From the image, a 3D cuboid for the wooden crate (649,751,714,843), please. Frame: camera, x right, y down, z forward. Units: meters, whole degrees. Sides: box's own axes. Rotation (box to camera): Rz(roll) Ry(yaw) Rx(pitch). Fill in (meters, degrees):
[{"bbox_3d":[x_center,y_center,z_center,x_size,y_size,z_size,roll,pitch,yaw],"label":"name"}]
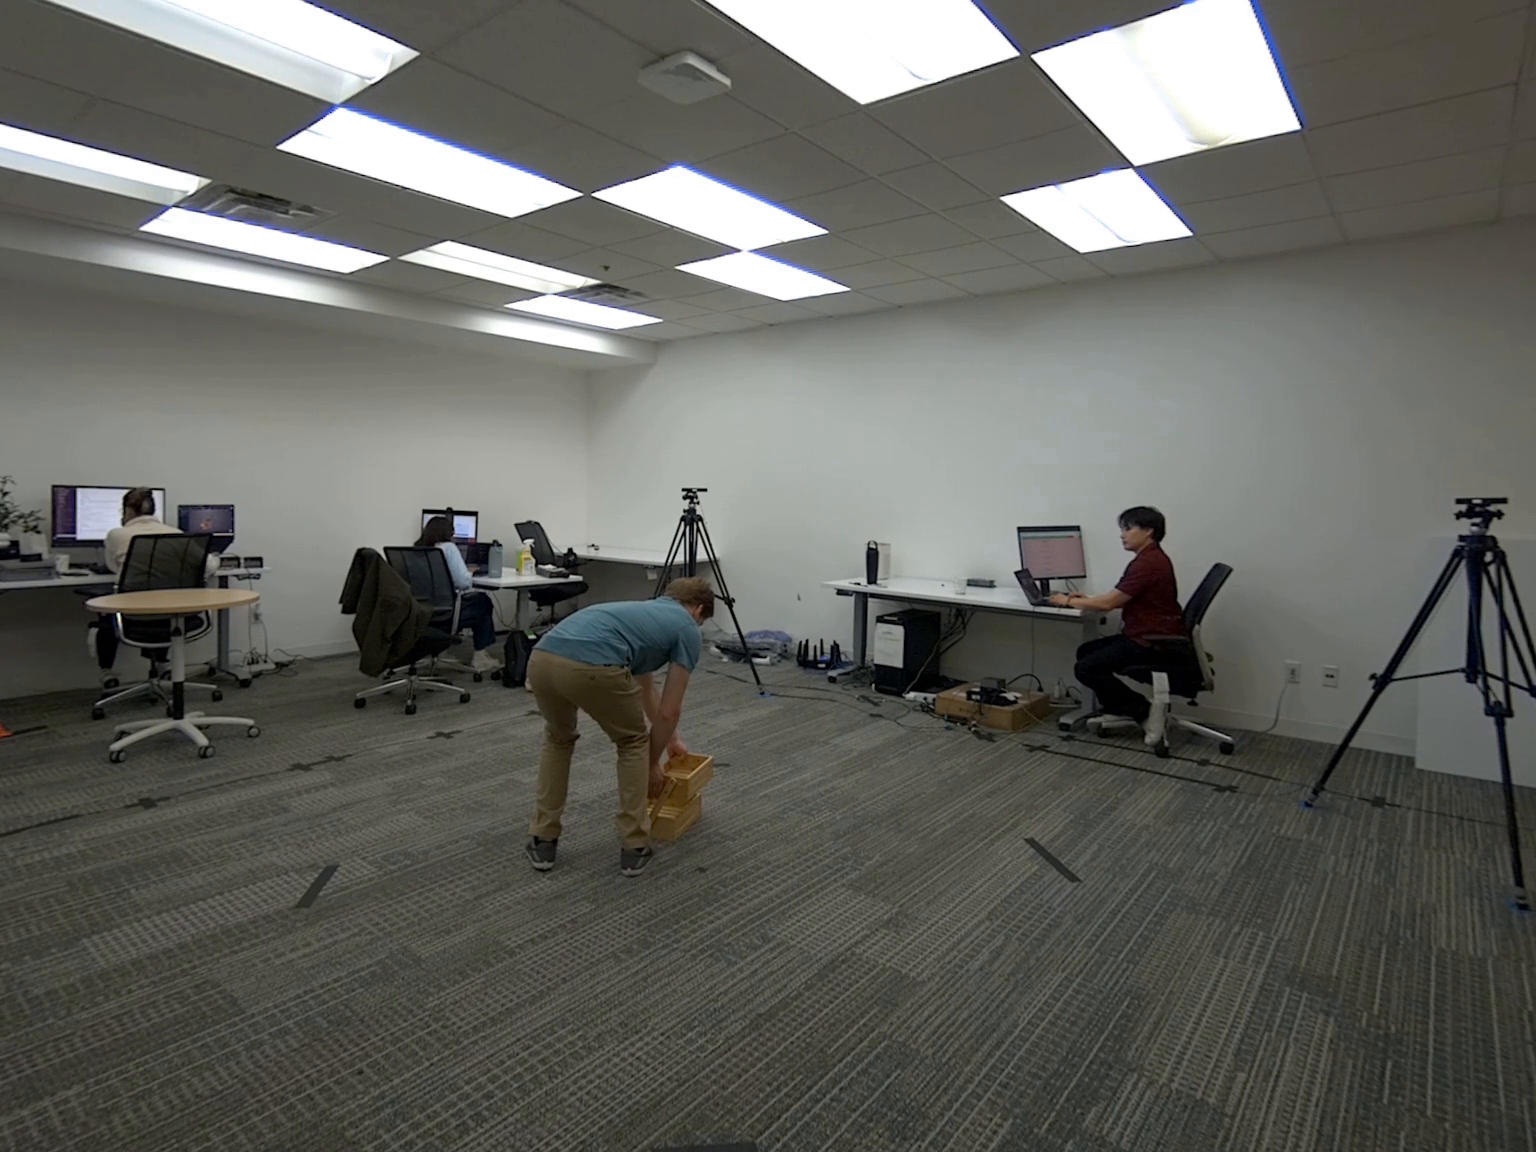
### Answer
[{"bbox_3d":[-0.437,0.898,3.517,0.308,0.272,0.320,3,4,16],"label":"wooden crate"}]
